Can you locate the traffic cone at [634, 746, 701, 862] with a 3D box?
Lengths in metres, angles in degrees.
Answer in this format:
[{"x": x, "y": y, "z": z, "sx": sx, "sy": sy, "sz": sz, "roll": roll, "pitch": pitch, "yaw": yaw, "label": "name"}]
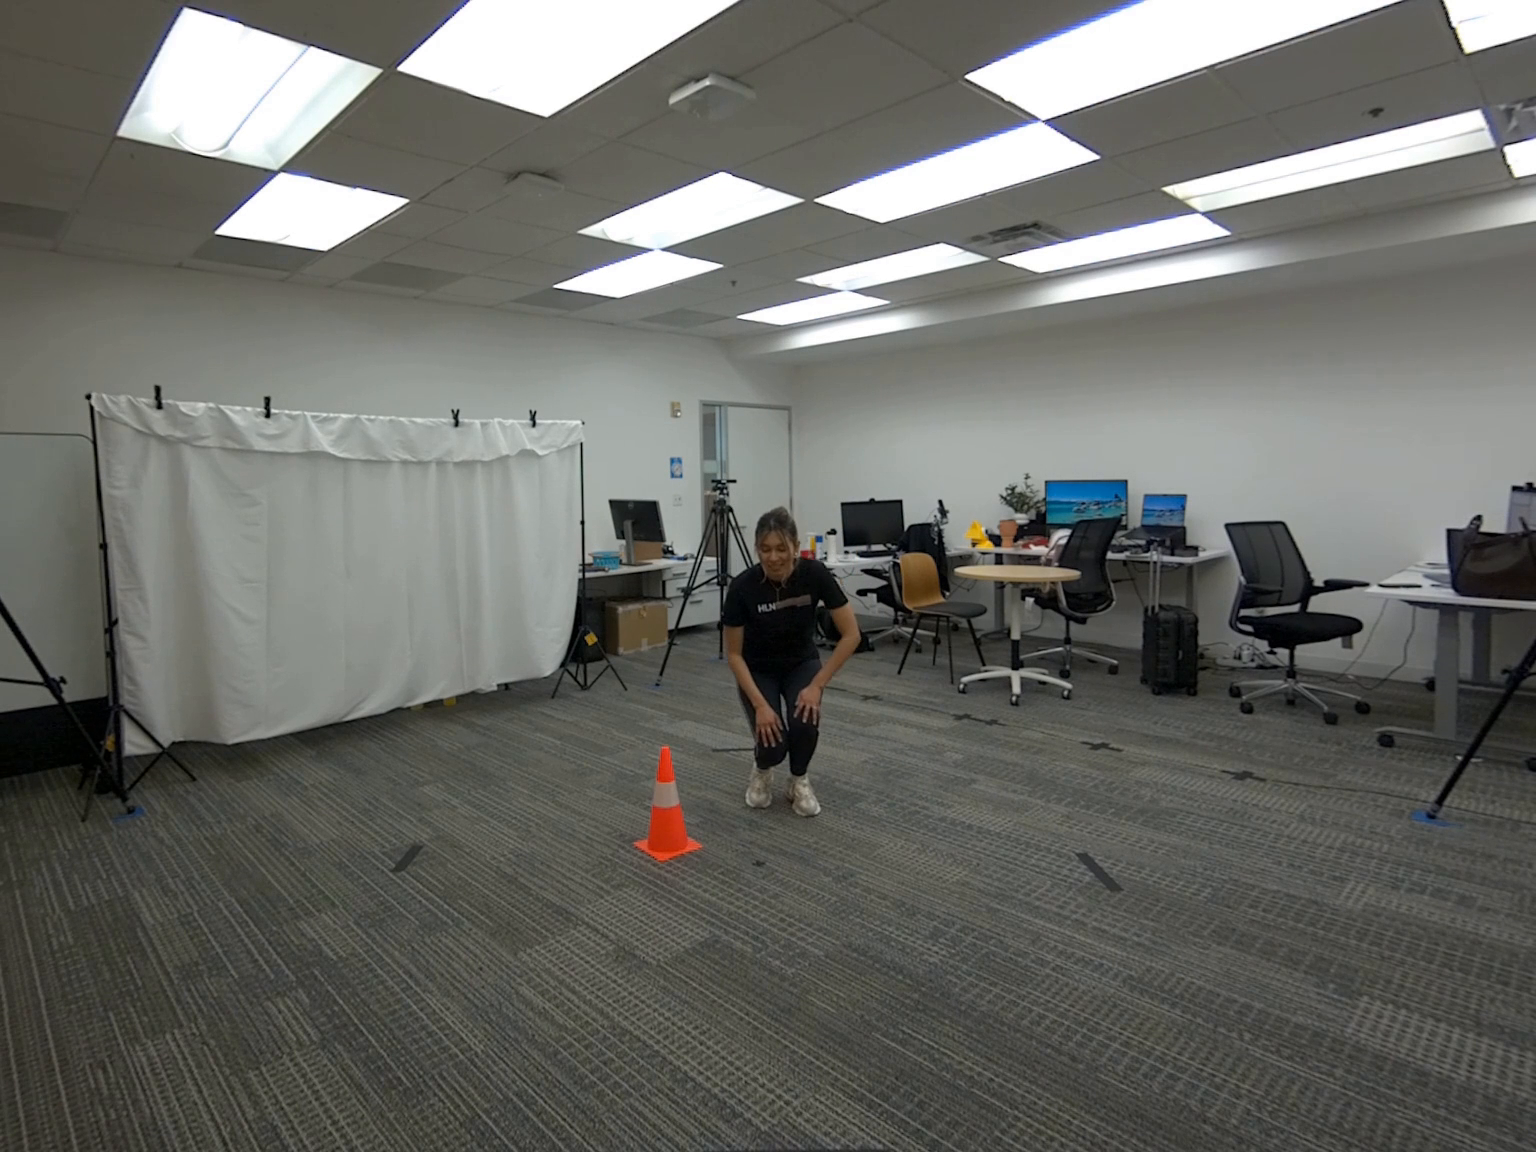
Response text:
[{"x": -0.386, "y": 0.853, "z": 3.262, "sx": 0.211, "sy": 0.382, "sz": 0.198, "roll": 2, "pitch": 5, "yaw": 41, "label": "traffic cone"}]
